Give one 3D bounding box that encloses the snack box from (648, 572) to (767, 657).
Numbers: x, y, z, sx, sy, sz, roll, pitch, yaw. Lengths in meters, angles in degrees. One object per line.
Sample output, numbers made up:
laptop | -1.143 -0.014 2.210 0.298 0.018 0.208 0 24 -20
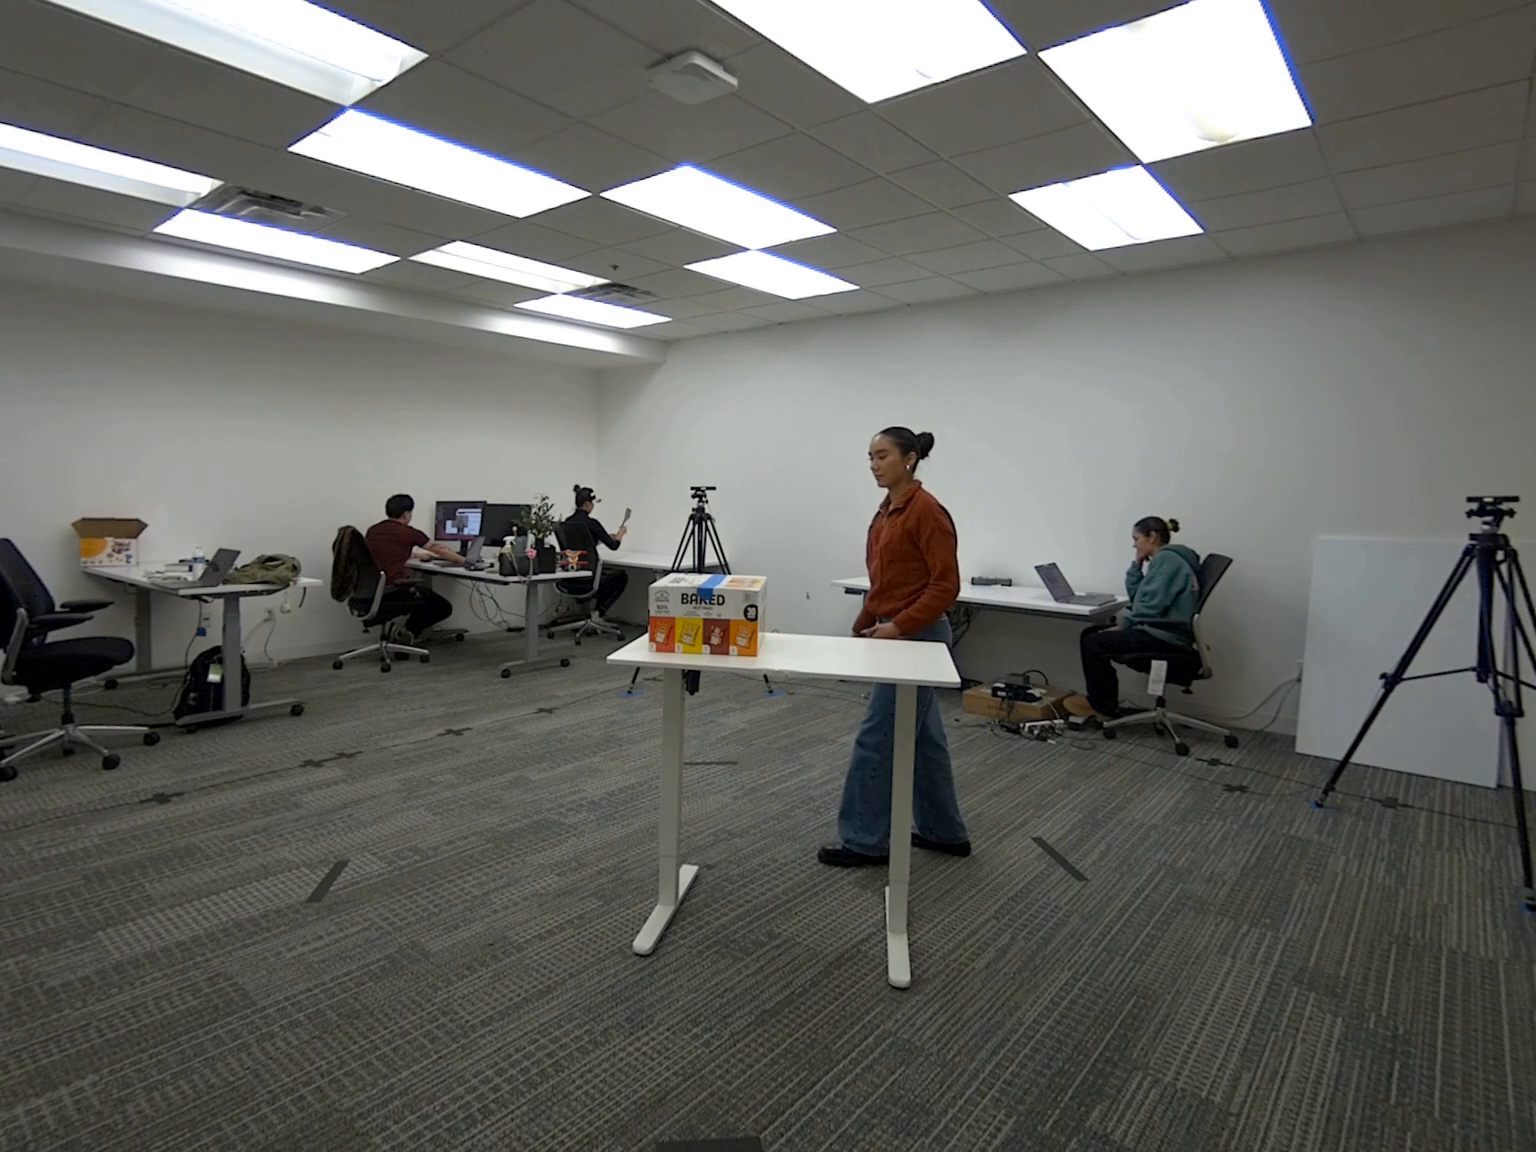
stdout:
snack box | -0.194 0.115 2.773 0.342 0.205 0.404 2 5 5
